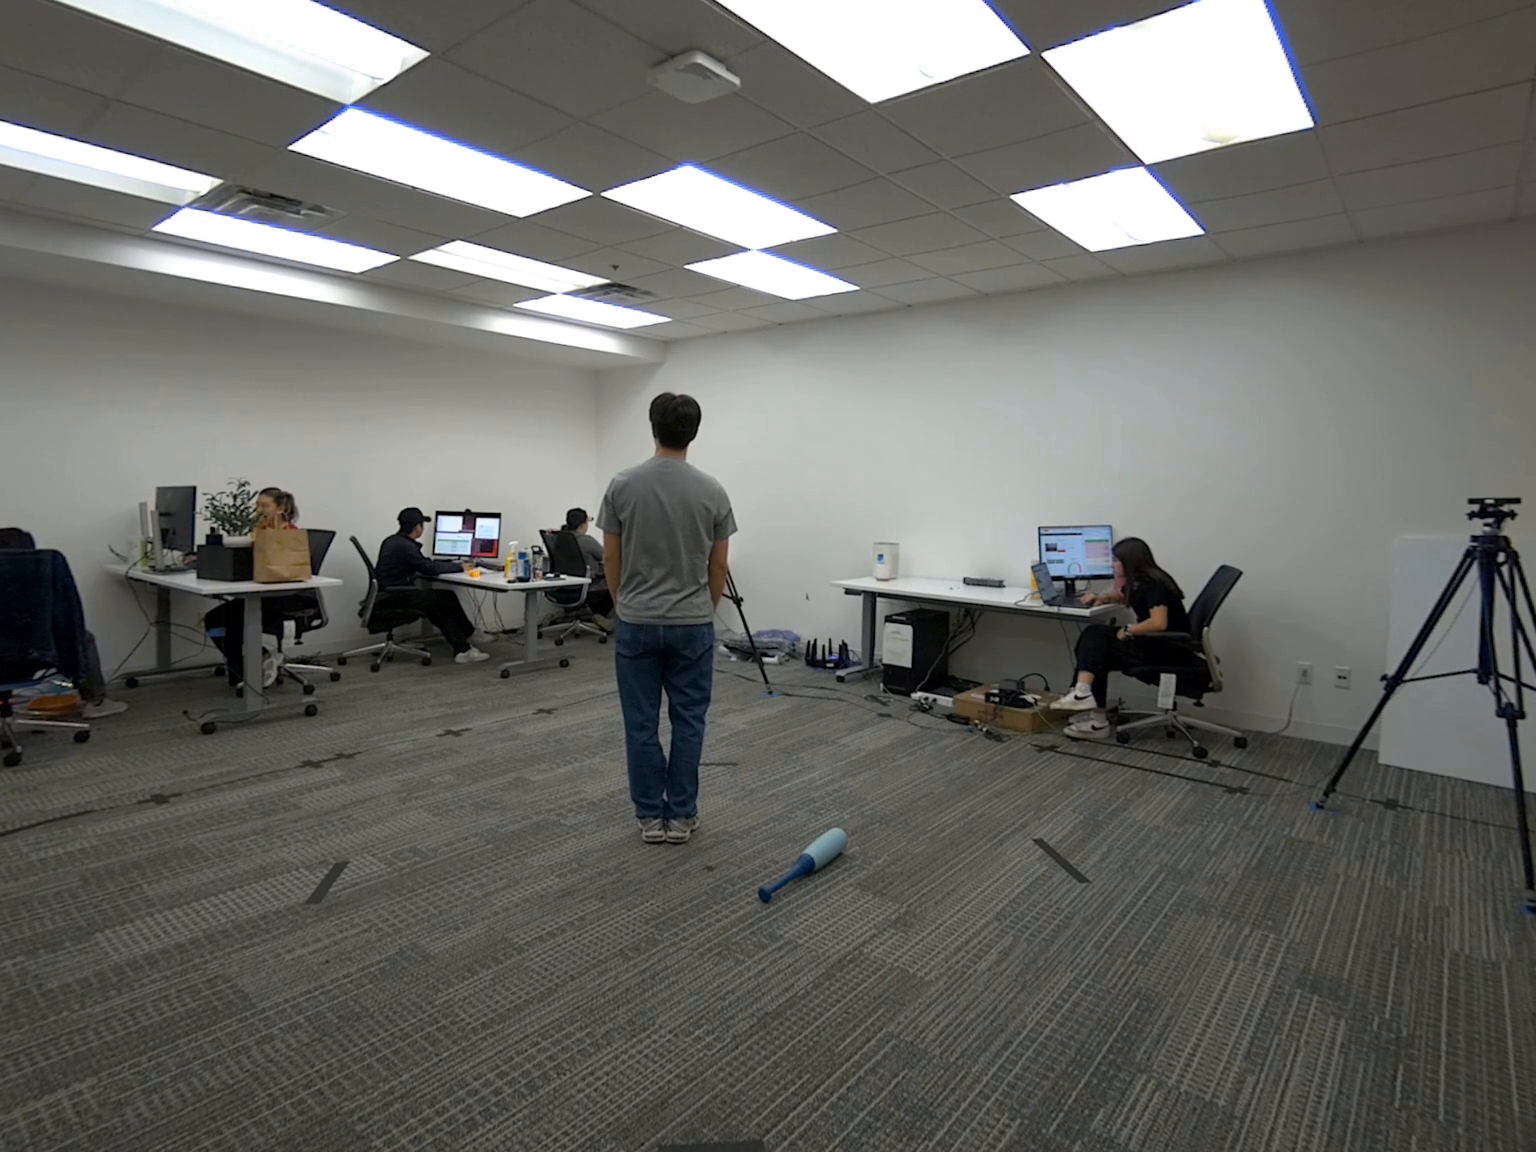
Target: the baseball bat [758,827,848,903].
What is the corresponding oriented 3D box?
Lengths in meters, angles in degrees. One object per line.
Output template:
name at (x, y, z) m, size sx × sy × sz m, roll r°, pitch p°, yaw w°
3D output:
baseball bat at (0.125, 1.039, 3.070) m, size 0.092 × 0.088 × 0.529 m, roll 4°, pitch 8°, yaw 34°
